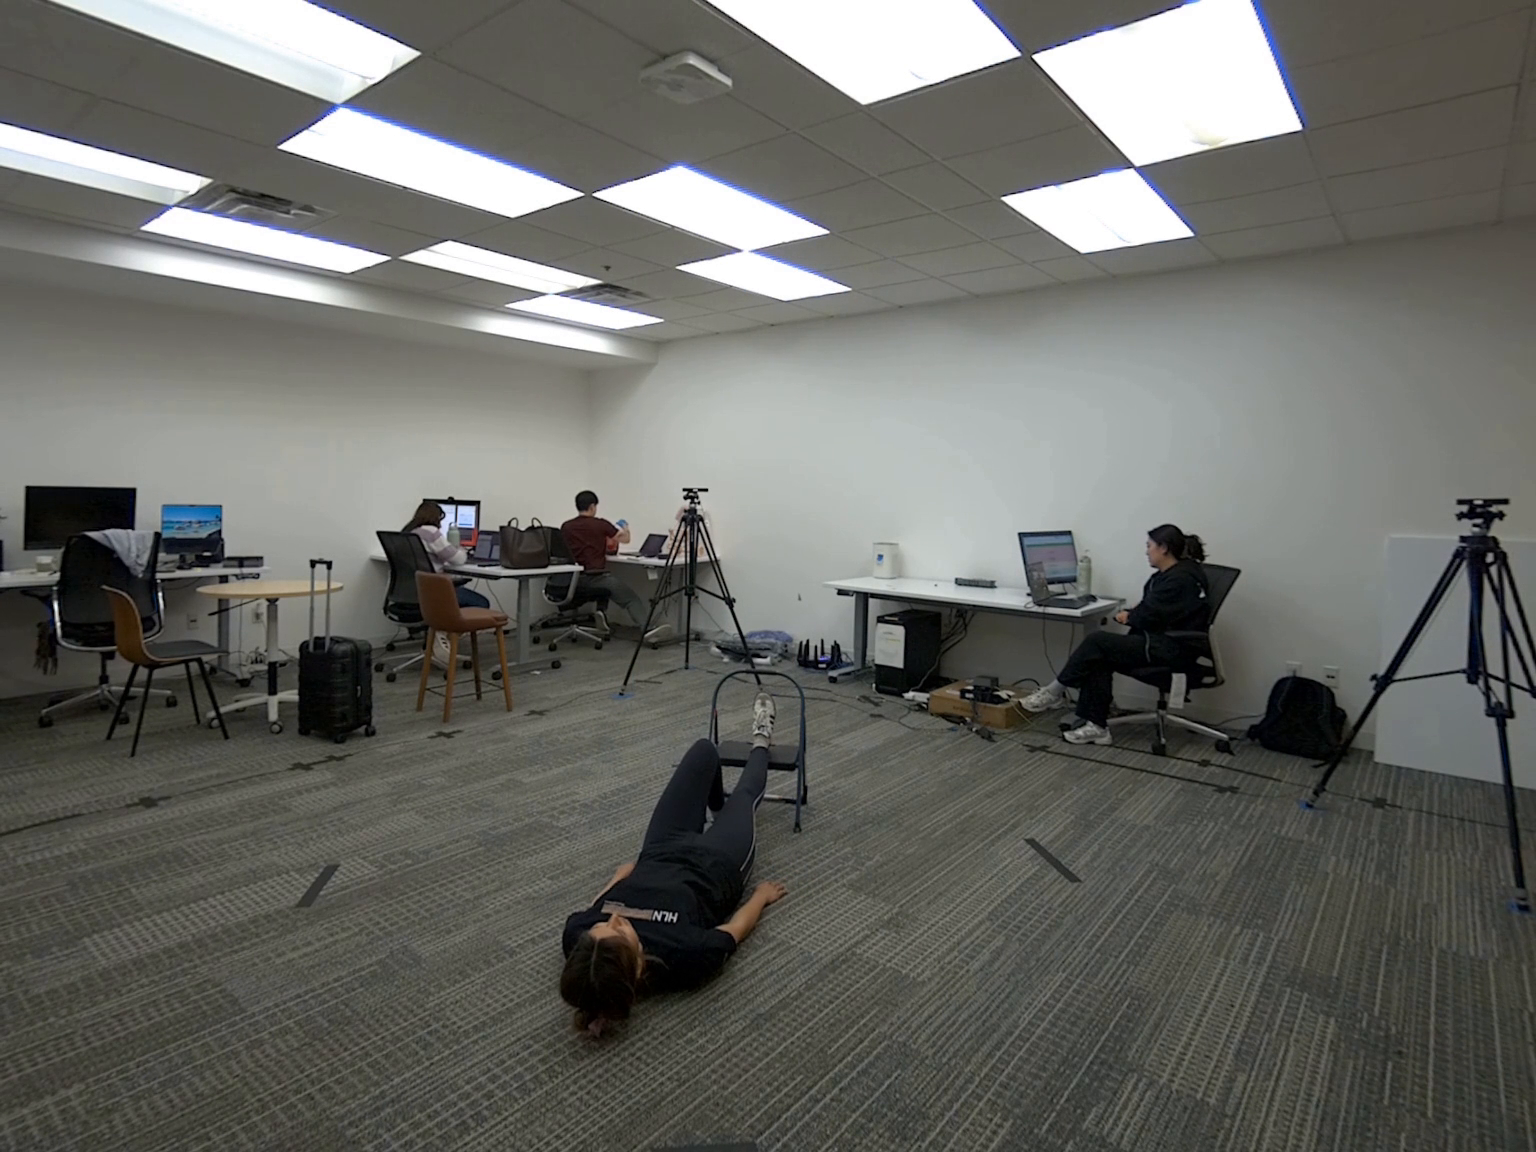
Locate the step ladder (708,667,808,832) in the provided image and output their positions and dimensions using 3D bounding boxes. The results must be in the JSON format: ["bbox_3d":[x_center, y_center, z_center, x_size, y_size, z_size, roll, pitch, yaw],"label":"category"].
[{"bbox_3d":[-0.050,0.718,3.662,0.436,0.604,0.346,1,3,10],"label":"step ladder"}]
